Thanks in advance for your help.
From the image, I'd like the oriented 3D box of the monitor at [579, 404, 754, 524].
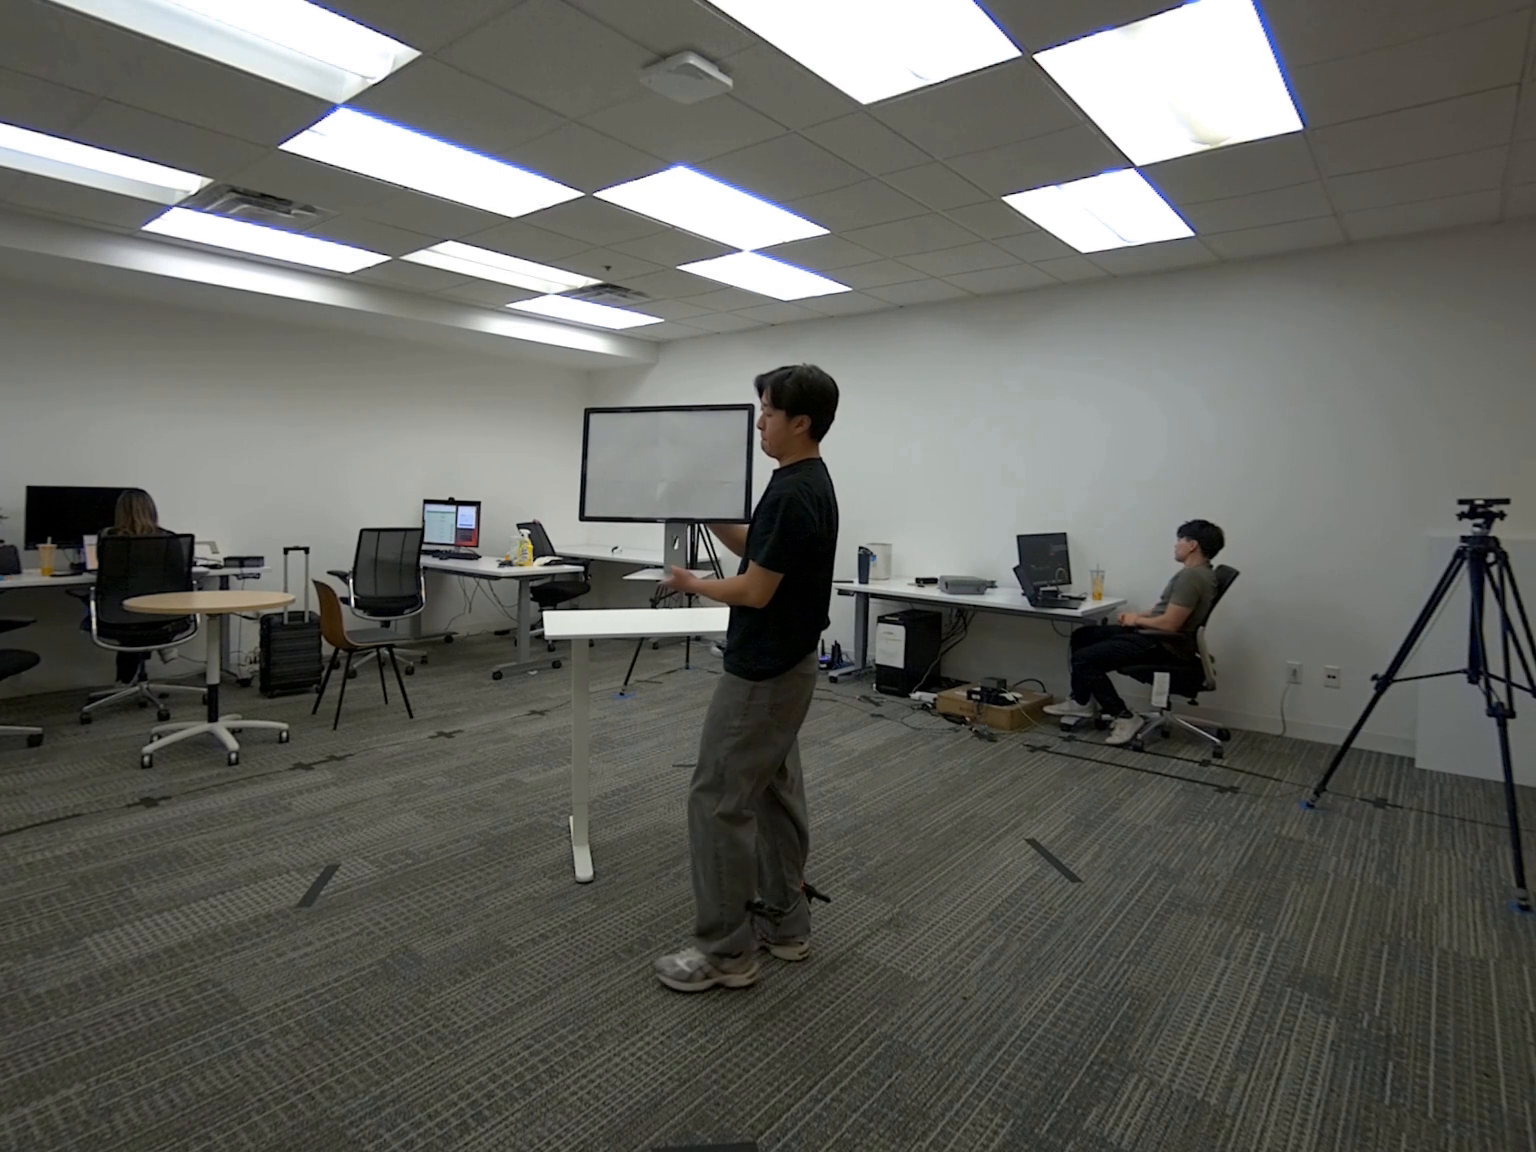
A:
[{"bbox_3d":[-0.319,-0.250,2.660,0.573,0.560,0.220,2,11,19],"label":"monitor"}]
